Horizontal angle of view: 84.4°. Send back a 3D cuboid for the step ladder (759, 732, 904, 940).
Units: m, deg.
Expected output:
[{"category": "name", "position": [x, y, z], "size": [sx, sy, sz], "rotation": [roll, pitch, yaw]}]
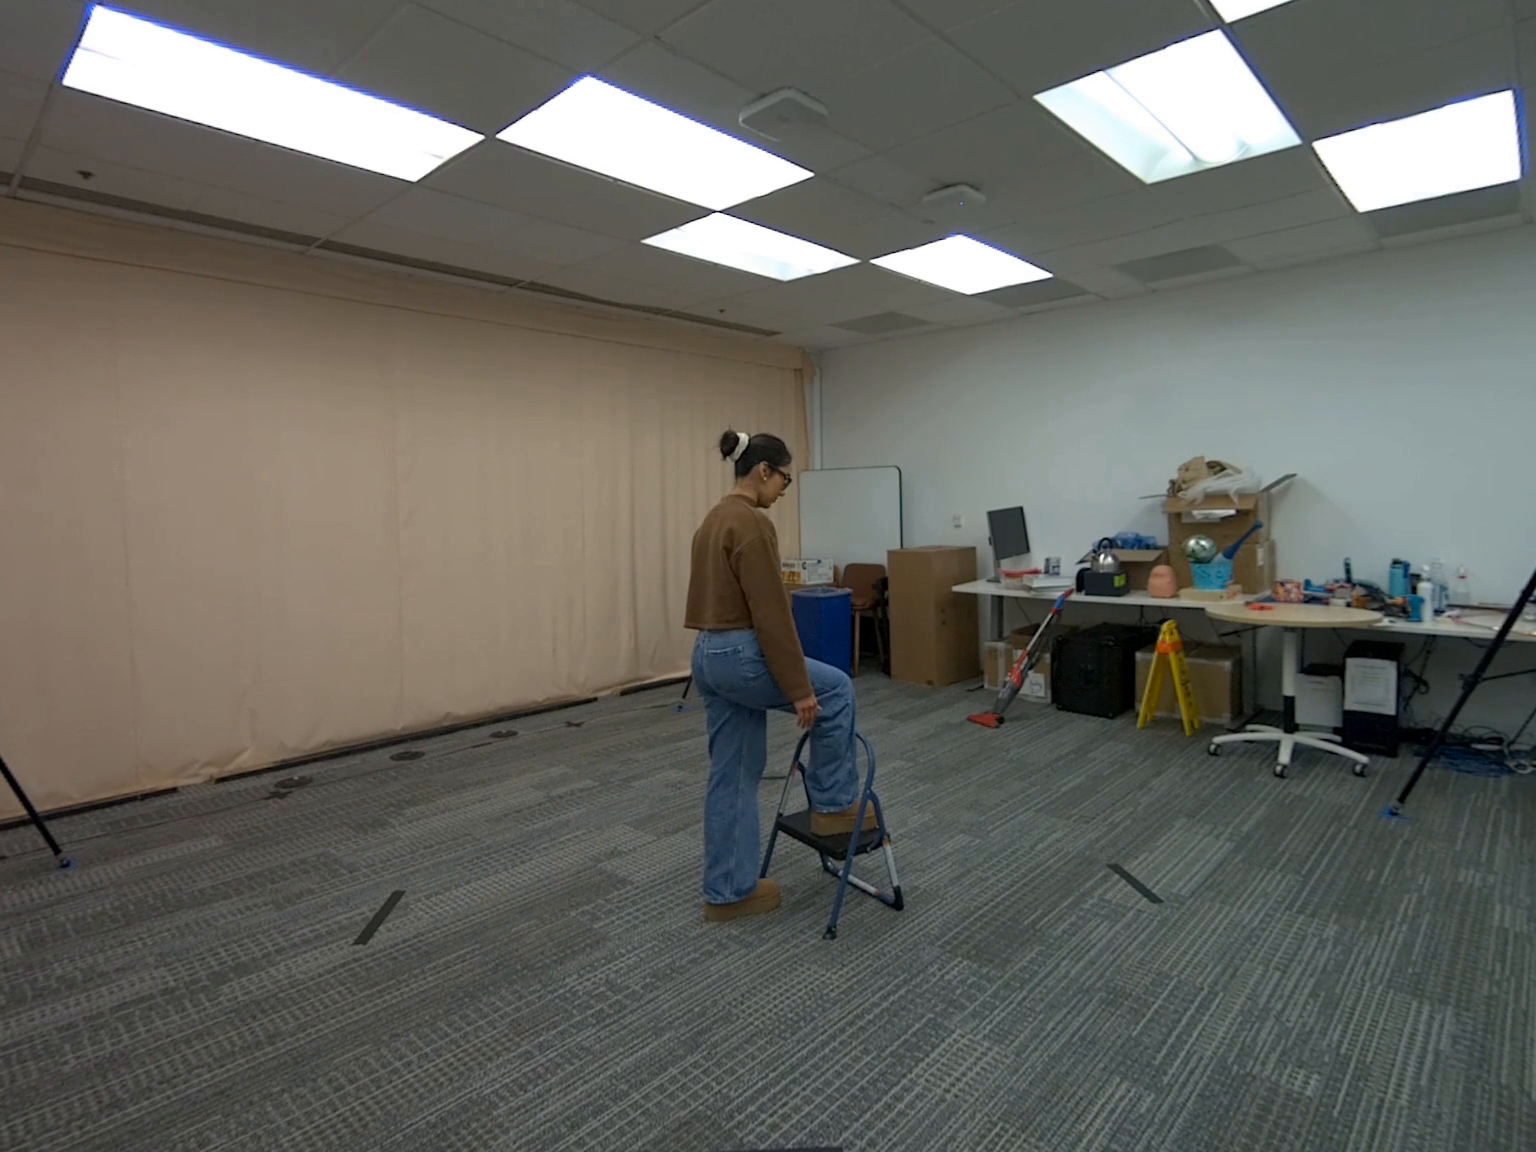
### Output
[{"category": "step ladder", "position": [0.208, 0.836, 2.938], "size": [0.339, 0.605, 0.444], "rotation": [-3, 4, -35]}]
